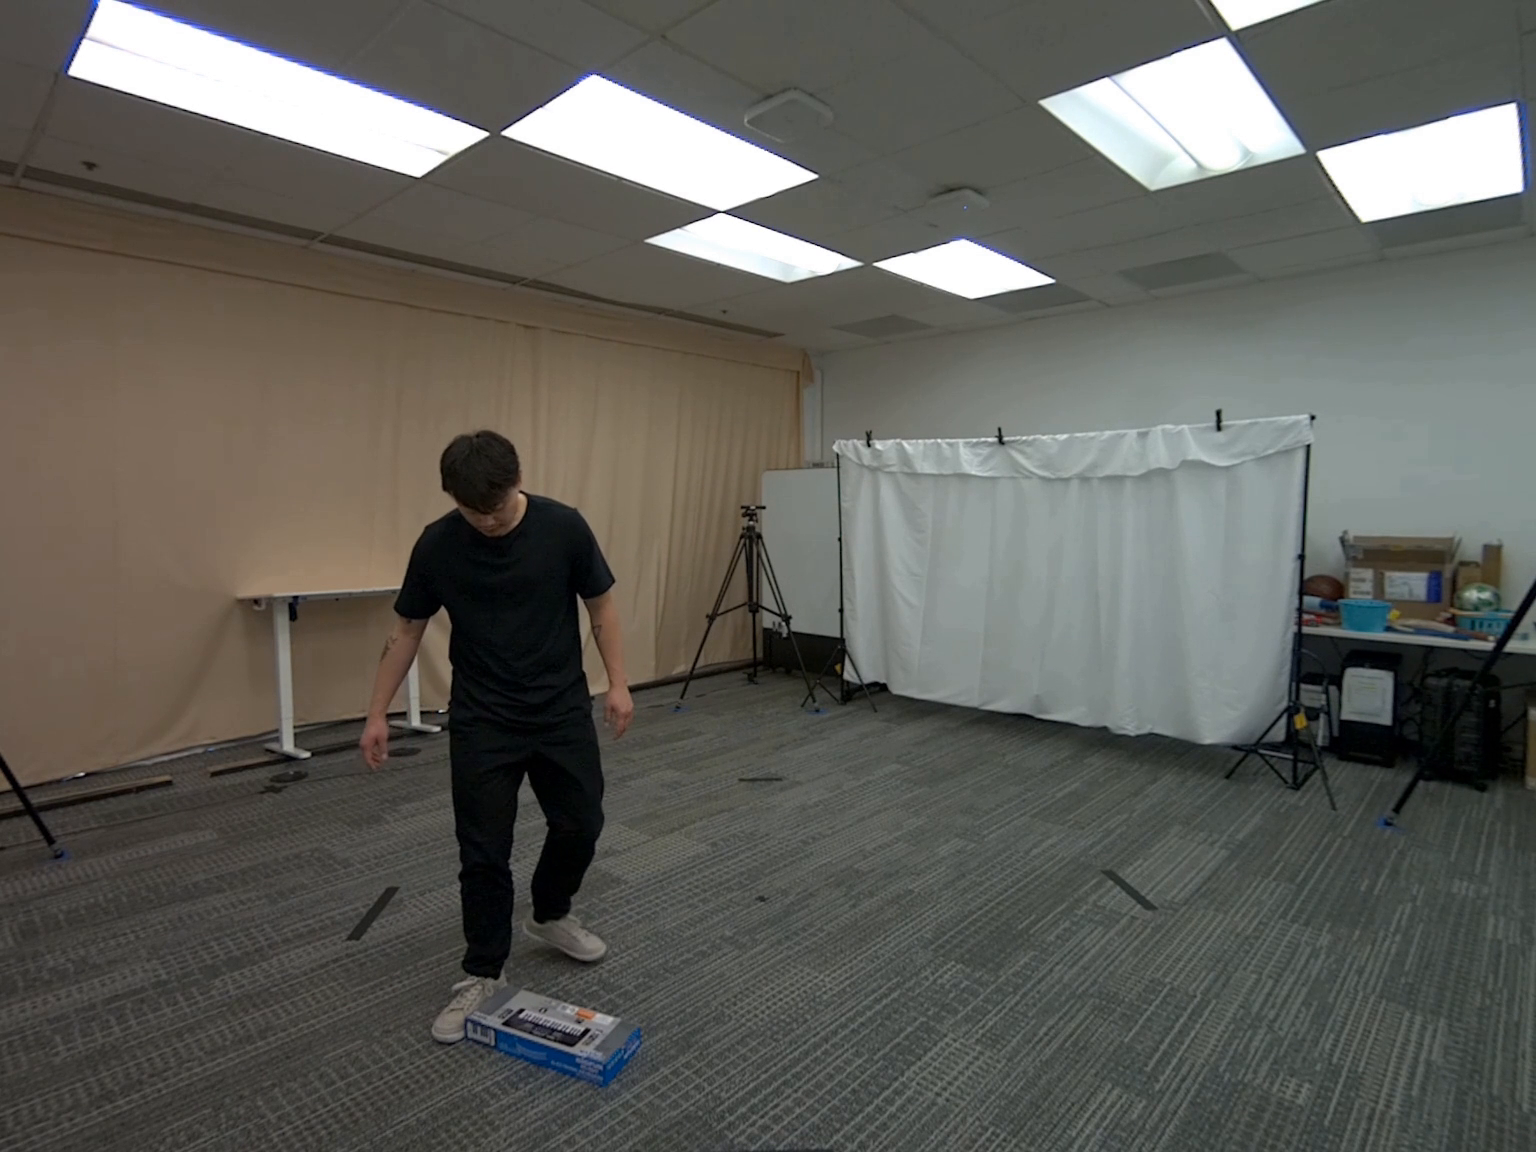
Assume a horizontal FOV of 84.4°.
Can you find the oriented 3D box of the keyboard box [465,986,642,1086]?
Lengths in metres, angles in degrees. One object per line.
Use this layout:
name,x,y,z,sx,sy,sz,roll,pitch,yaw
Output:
keyboard box,-0.556,1.185,2.185,0.448,0.059,0.172,2,5,24
